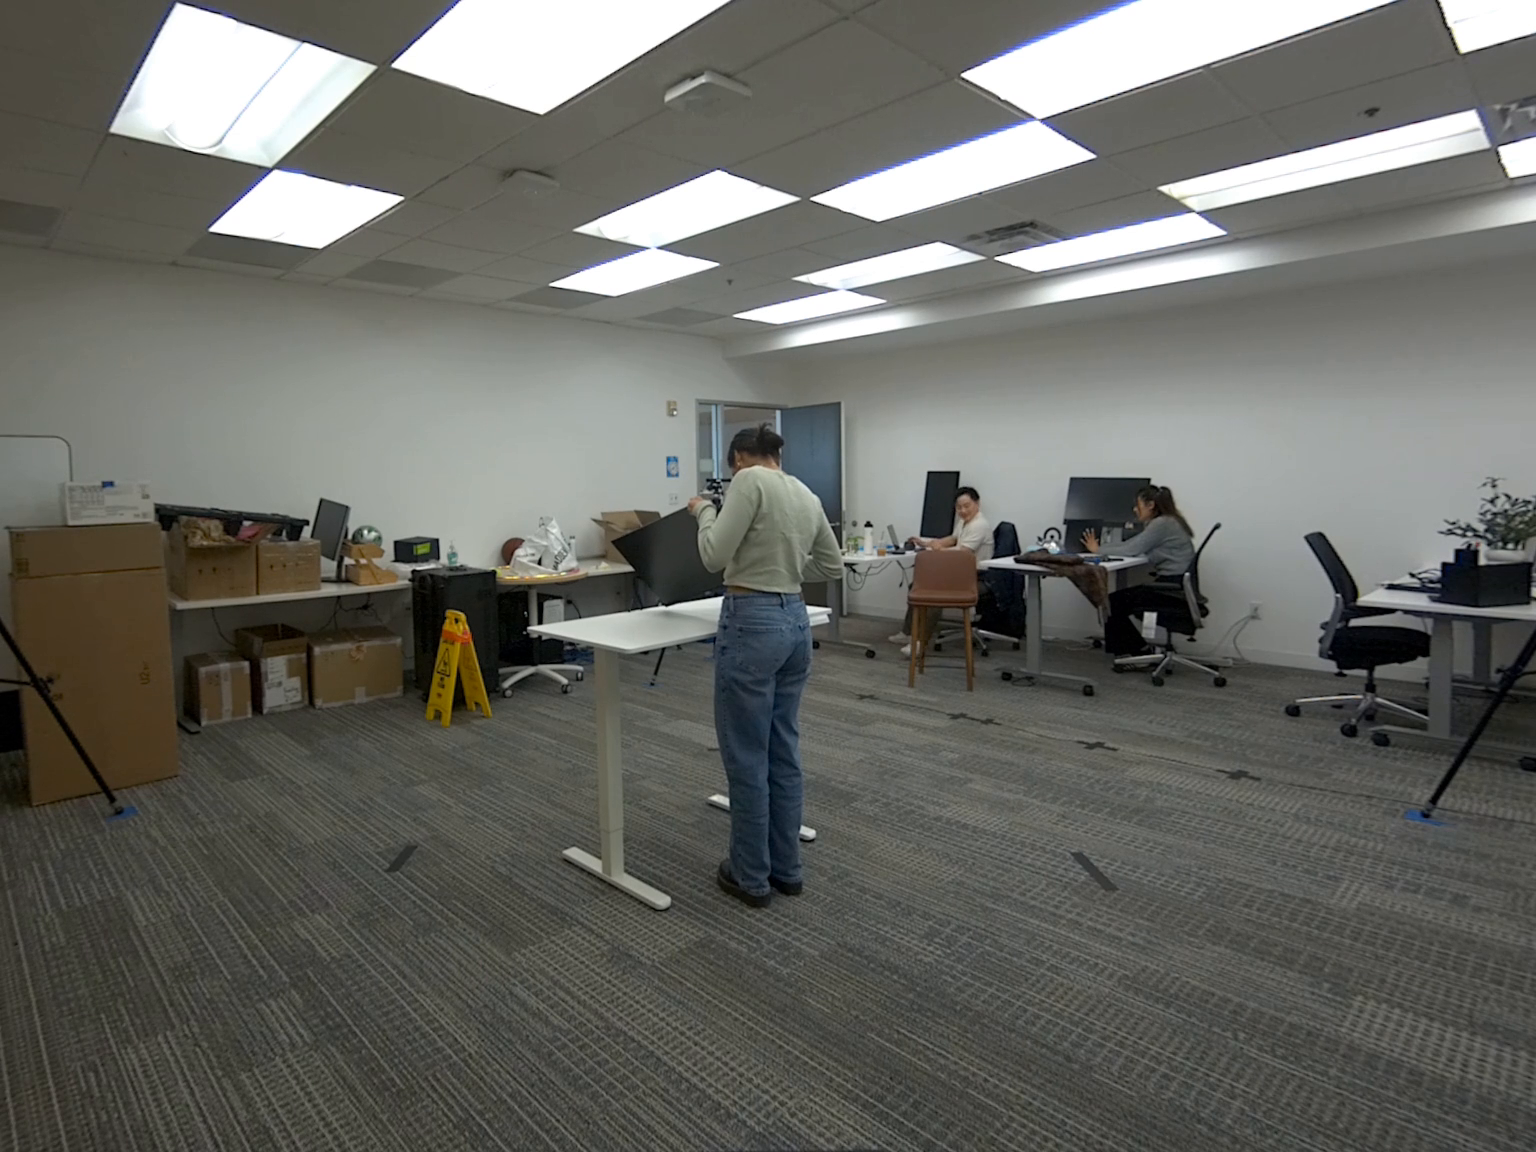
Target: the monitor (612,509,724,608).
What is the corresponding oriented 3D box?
[{"bbox_3d":[-0.250,-0.049,3.240,0.549,0.190,0.505,-19,-46,43],"label":"monitor"}]
